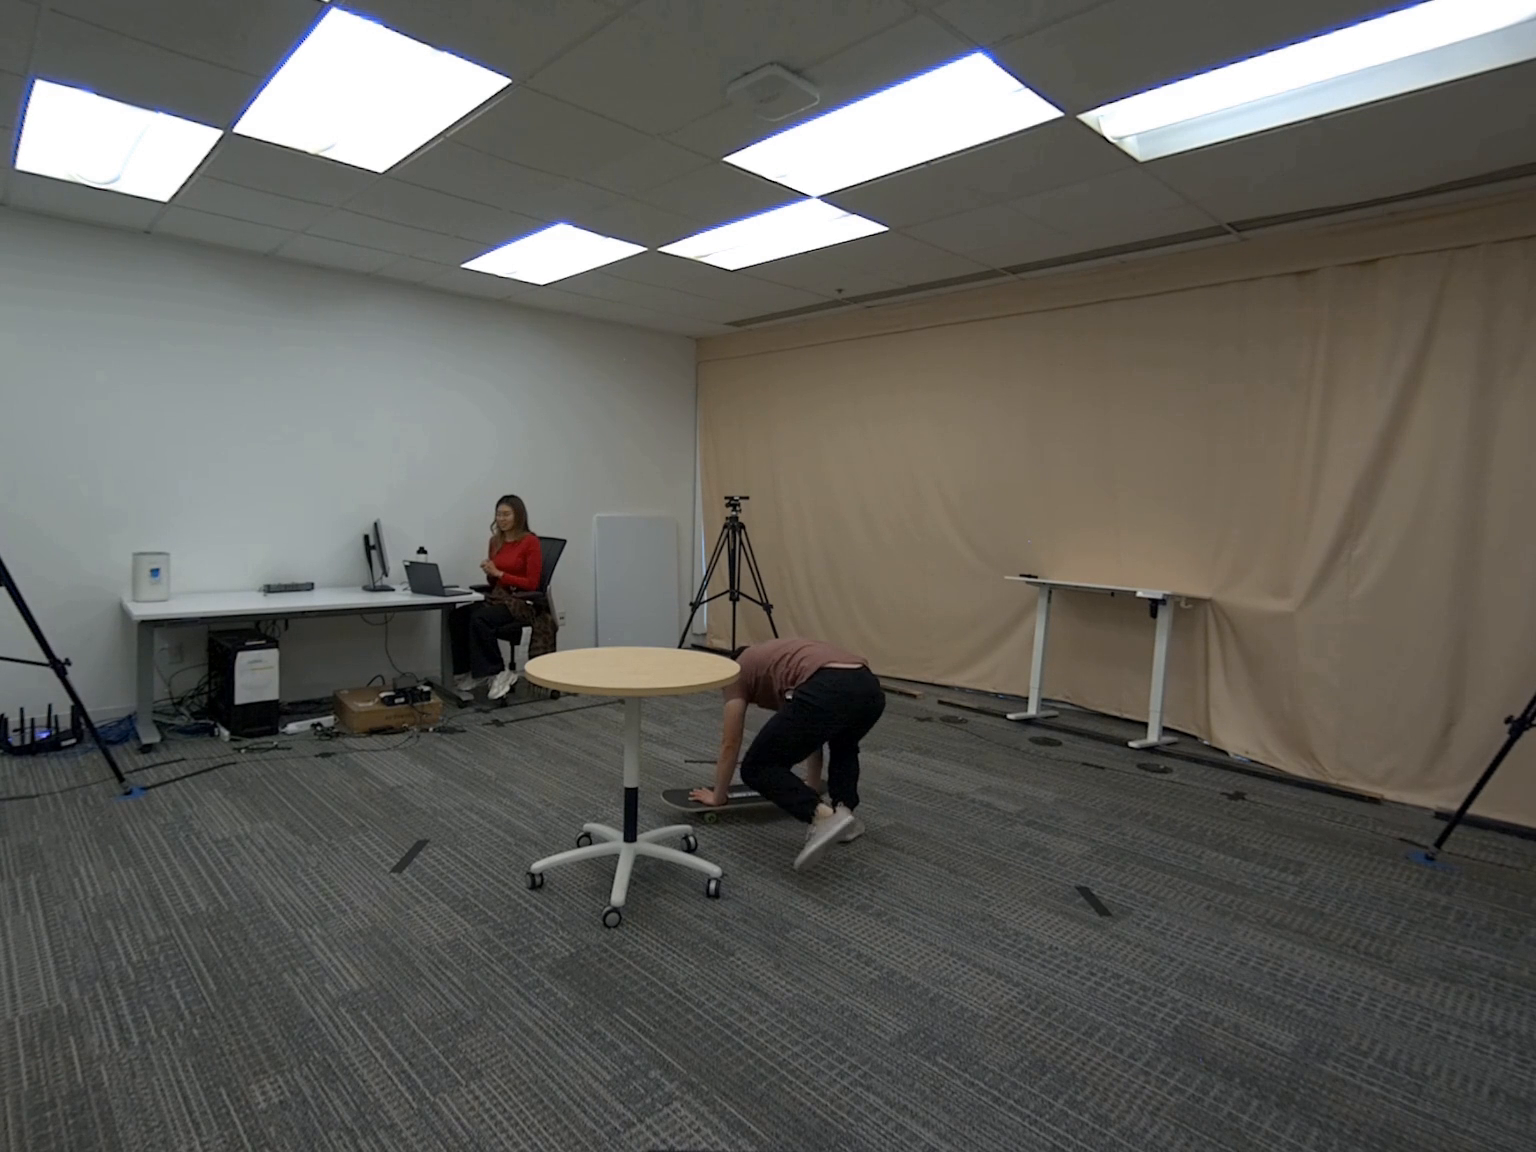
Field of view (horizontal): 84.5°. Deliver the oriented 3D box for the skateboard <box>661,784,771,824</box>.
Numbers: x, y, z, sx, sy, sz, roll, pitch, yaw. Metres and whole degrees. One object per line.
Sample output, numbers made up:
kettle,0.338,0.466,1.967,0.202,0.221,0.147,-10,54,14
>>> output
skateboard,-0.094,0.995,3.725,0.775,0.110,0.197,0,10,-17
